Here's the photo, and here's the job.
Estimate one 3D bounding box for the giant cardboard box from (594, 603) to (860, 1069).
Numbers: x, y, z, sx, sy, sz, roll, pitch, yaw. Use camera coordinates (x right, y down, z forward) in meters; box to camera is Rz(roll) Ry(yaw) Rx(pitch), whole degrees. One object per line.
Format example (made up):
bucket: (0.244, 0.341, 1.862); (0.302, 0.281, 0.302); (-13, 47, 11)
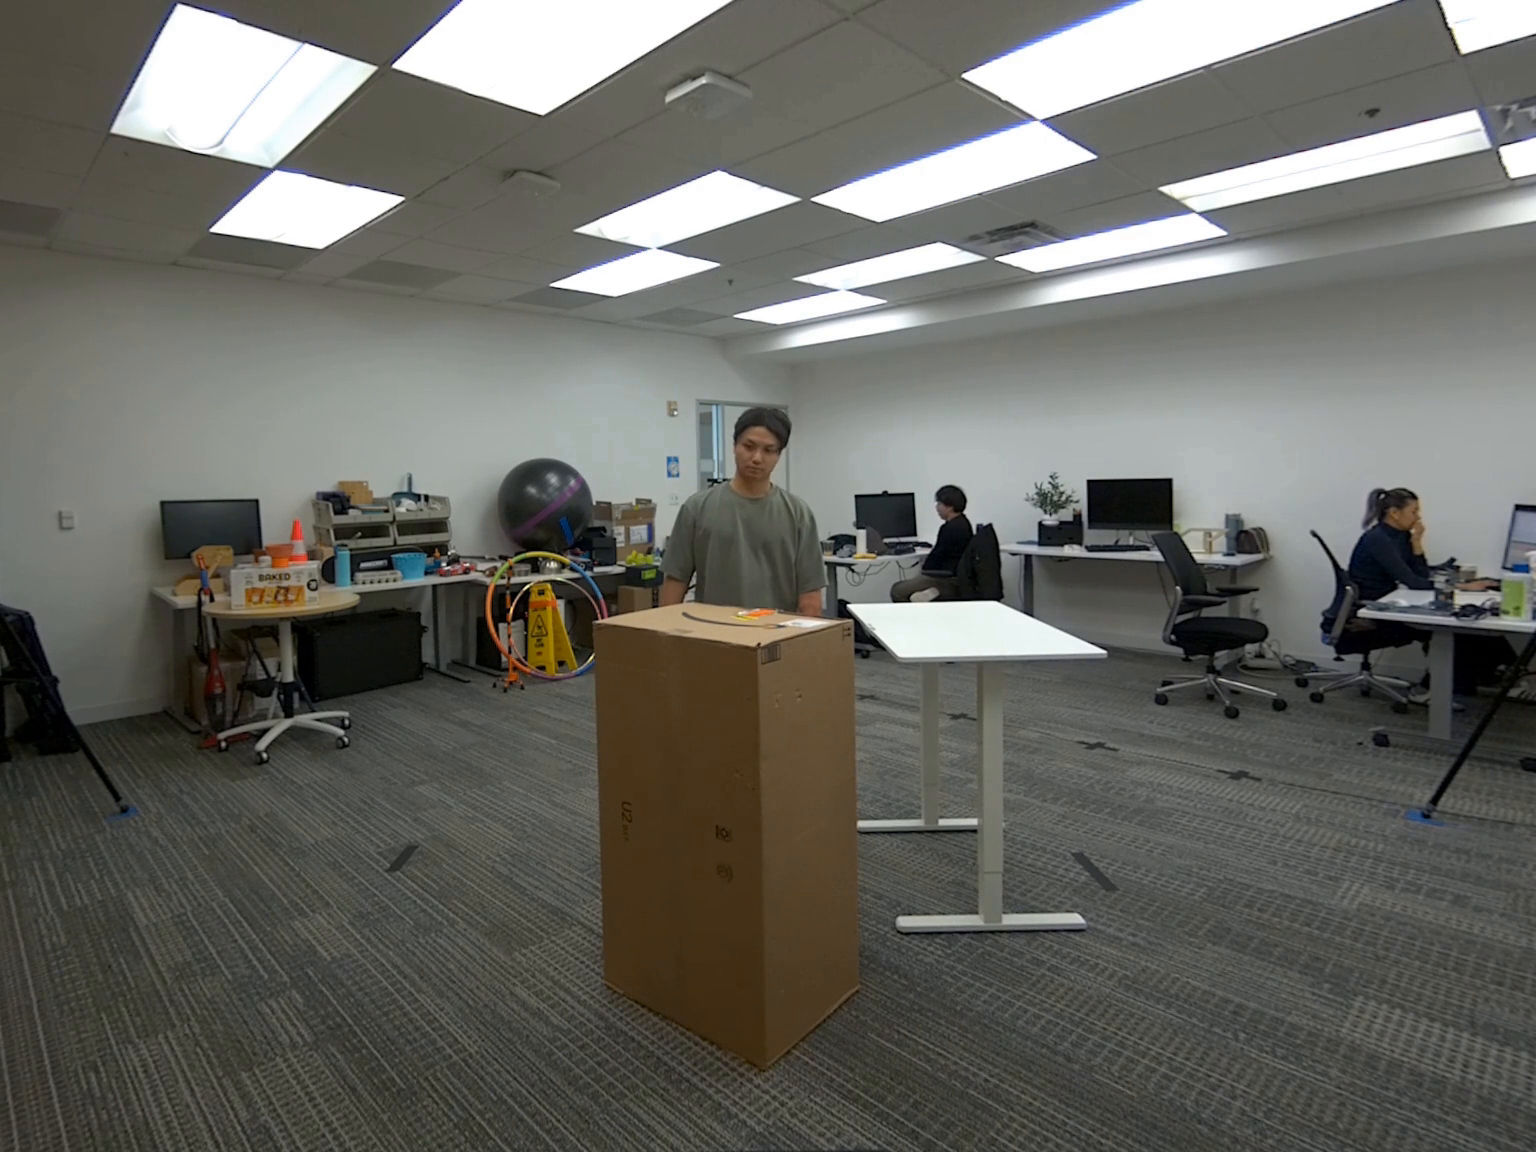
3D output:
giant cardboard box: (-0.113, 0.629, 2.329); (0.594, 1.022, 0.415); (2, 5, 39)
